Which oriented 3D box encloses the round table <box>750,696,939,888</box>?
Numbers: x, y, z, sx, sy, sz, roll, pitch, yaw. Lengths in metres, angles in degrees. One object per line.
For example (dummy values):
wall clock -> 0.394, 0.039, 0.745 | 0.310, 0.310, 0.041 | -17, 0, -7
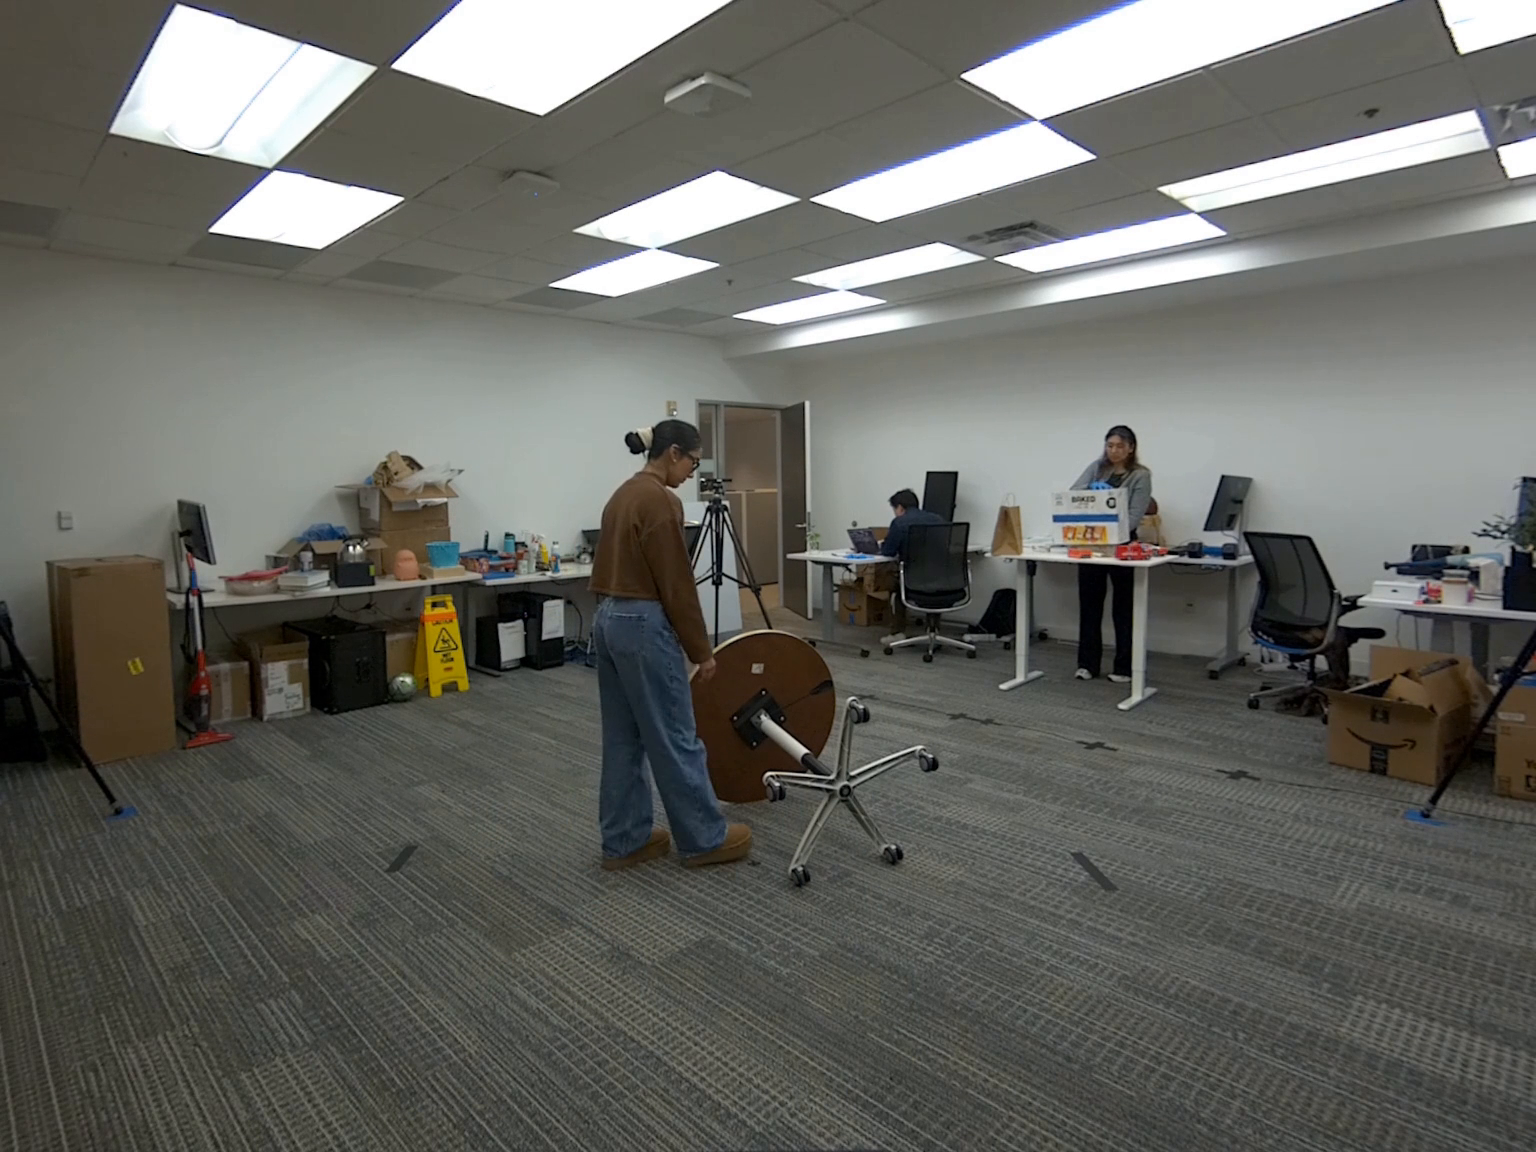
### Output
round table -> 0.133, 0.683, 3.300 | 0.748, 0.756, 0.819 | -3, 13, -26
